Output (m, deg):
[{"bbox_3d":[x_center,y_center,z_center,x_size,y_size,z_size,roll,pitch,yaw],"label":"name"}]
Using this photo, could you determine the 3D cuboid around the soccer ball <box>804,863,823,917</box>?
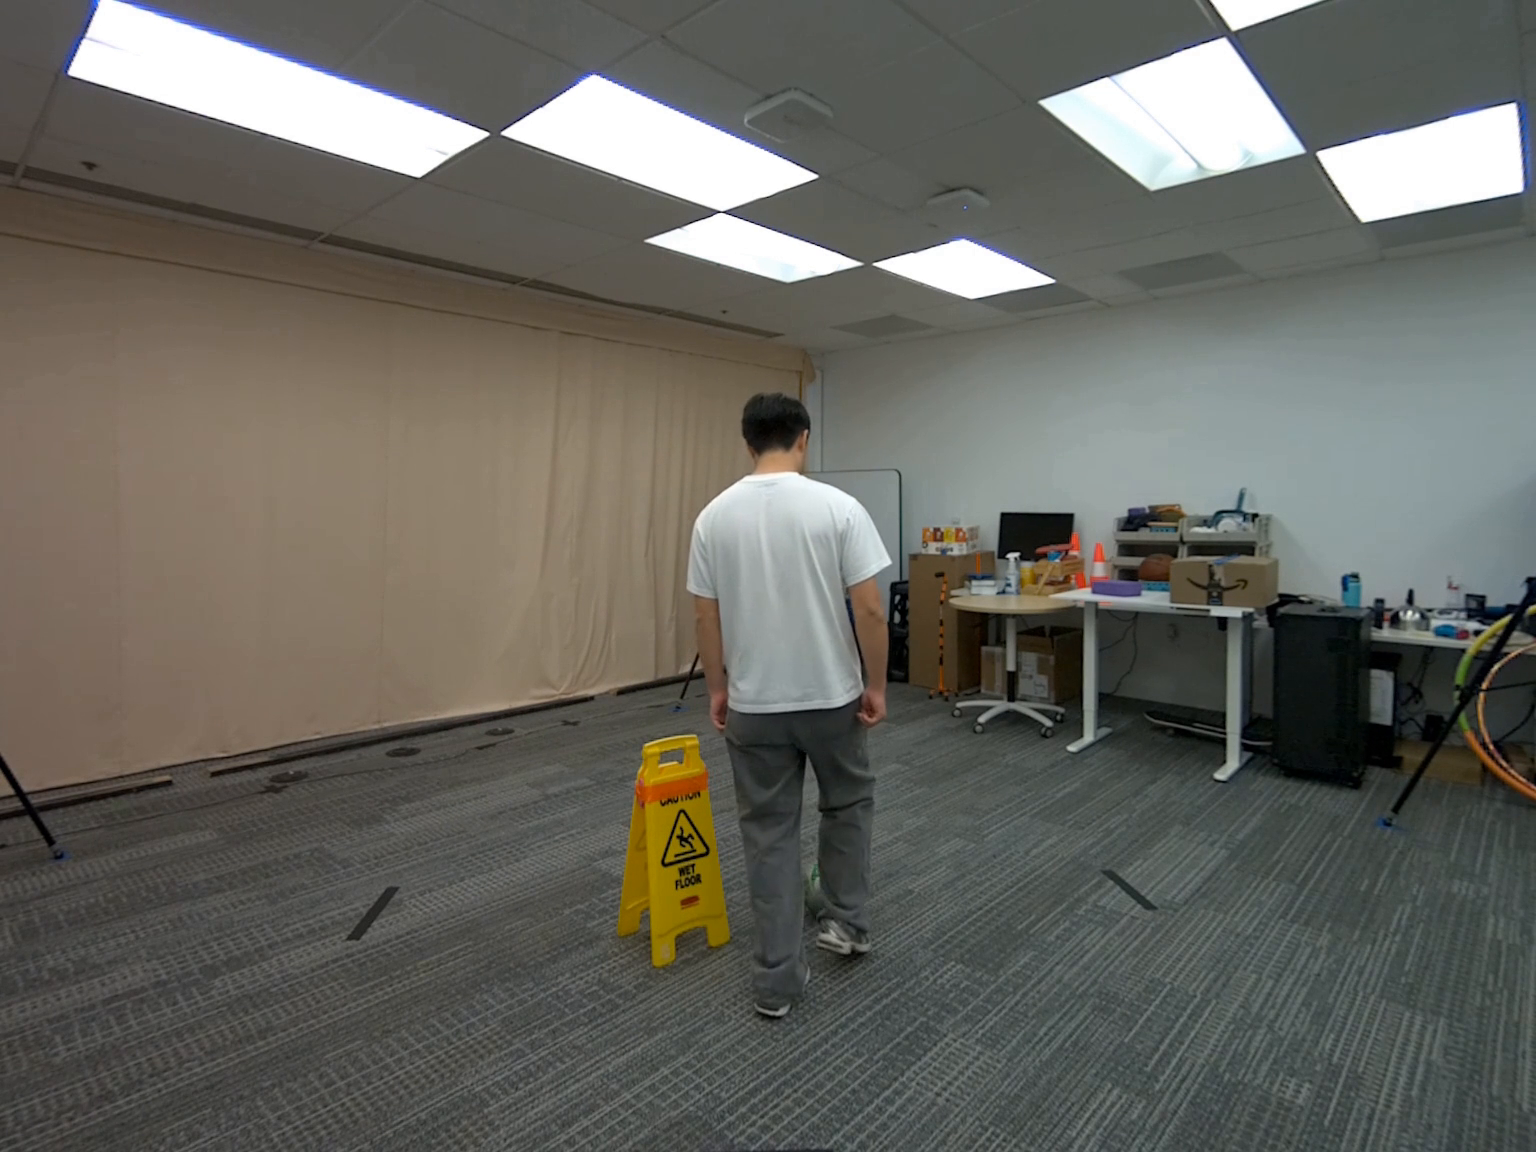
[{"bbox_3d":[0.213,1.063,2.865,0.187,0.187,0.188,0,4,-2],"label":"soccer ball"}]
